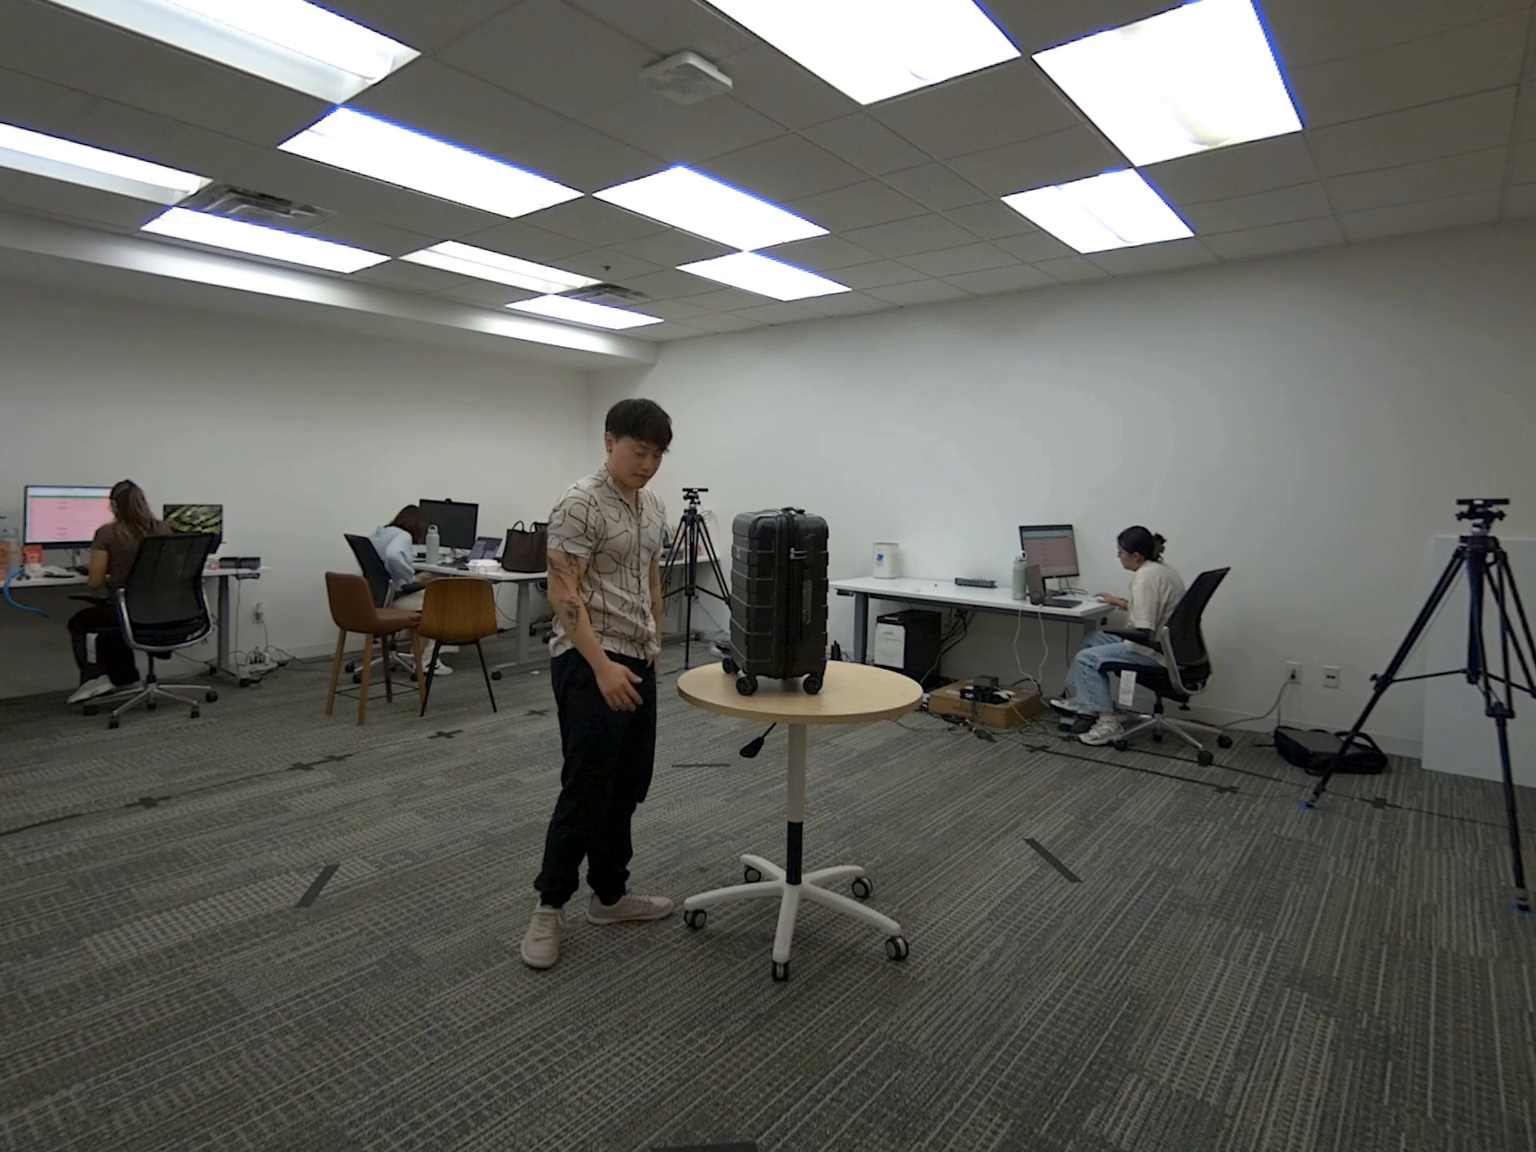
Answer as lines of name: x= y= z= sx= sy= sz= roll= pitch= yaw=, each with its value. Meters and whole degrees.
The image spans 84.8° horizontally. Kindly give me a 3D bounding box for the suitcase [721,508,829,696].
suitcase: x=0.011 y=0.061 z=2.645 sx=0.246 sy=0.547 sz=0.381 roll=1 pitch=5 yaw=-10
